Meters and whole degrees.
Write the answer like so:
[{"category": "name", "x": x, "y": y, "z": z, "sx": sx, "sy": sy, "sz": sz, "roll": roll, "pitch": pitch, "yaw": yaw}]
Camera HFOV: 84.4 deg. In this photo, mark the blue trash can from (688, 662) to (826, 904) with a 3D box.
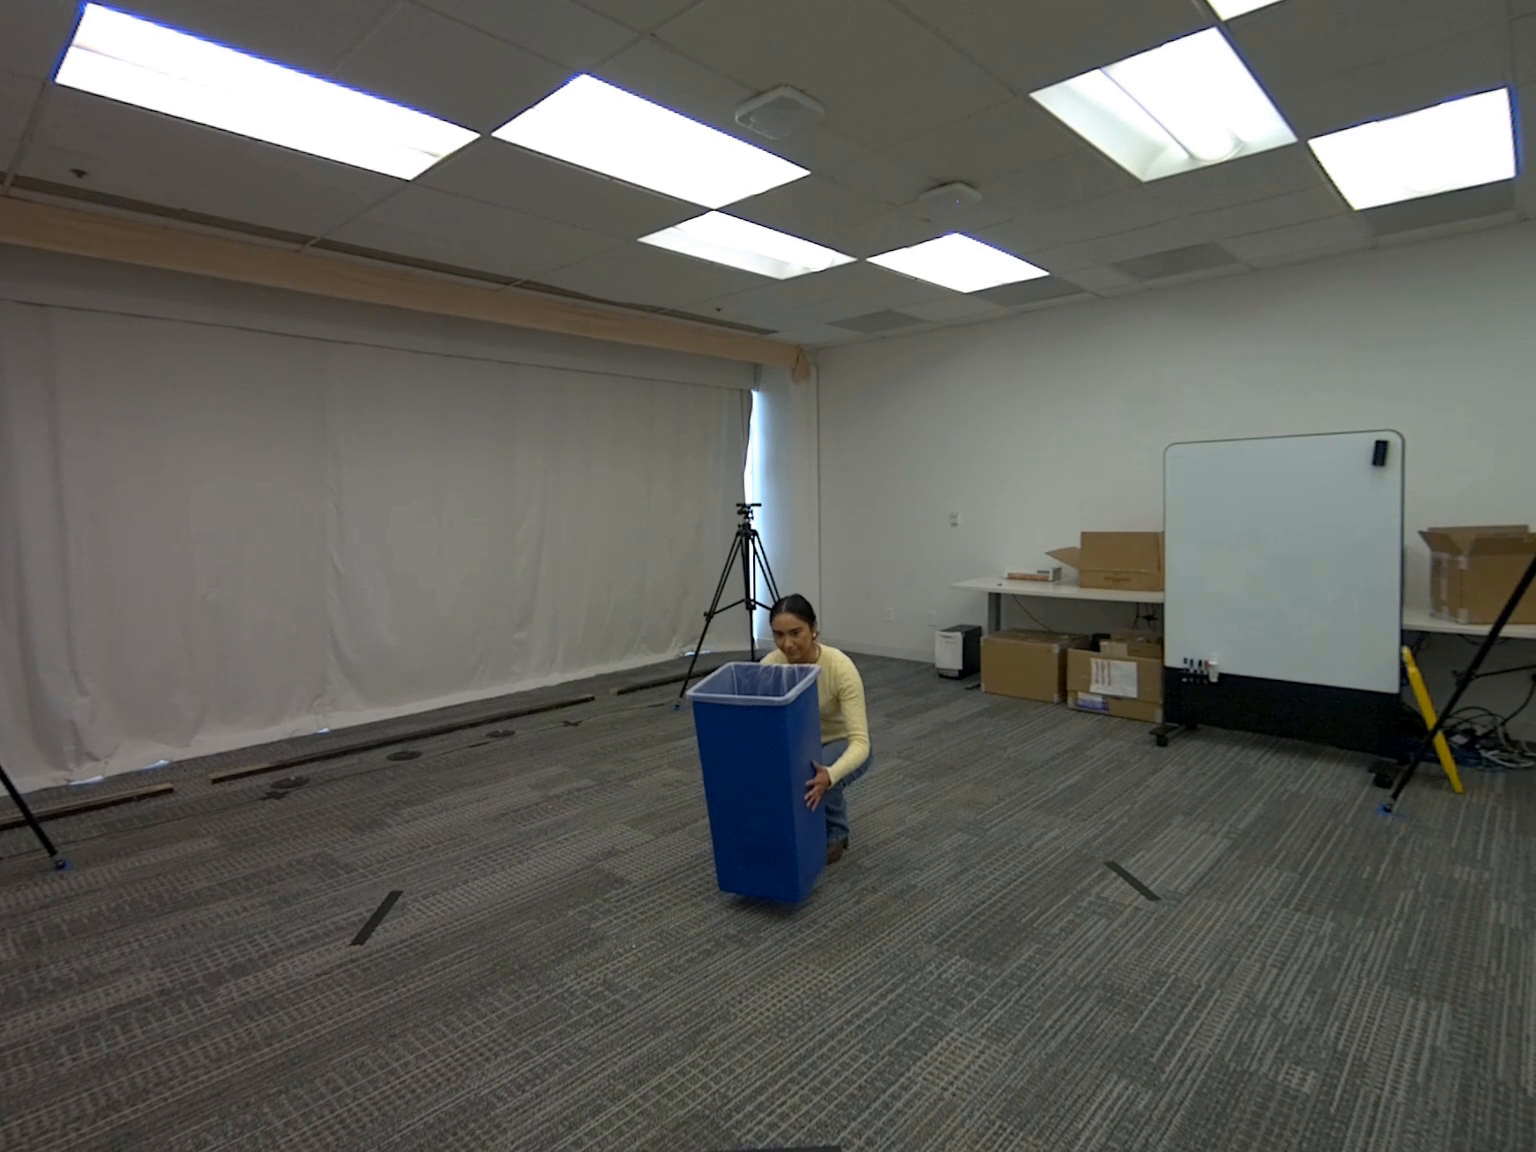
[{"category": "blue trash can", "x": -0.010, "y": 0.690, "z": 2.895, "sx": 0.387, "sy": 0.710, "sz": 0.367, "roll": -2, "pitch": 8, "yaw": 24}]
